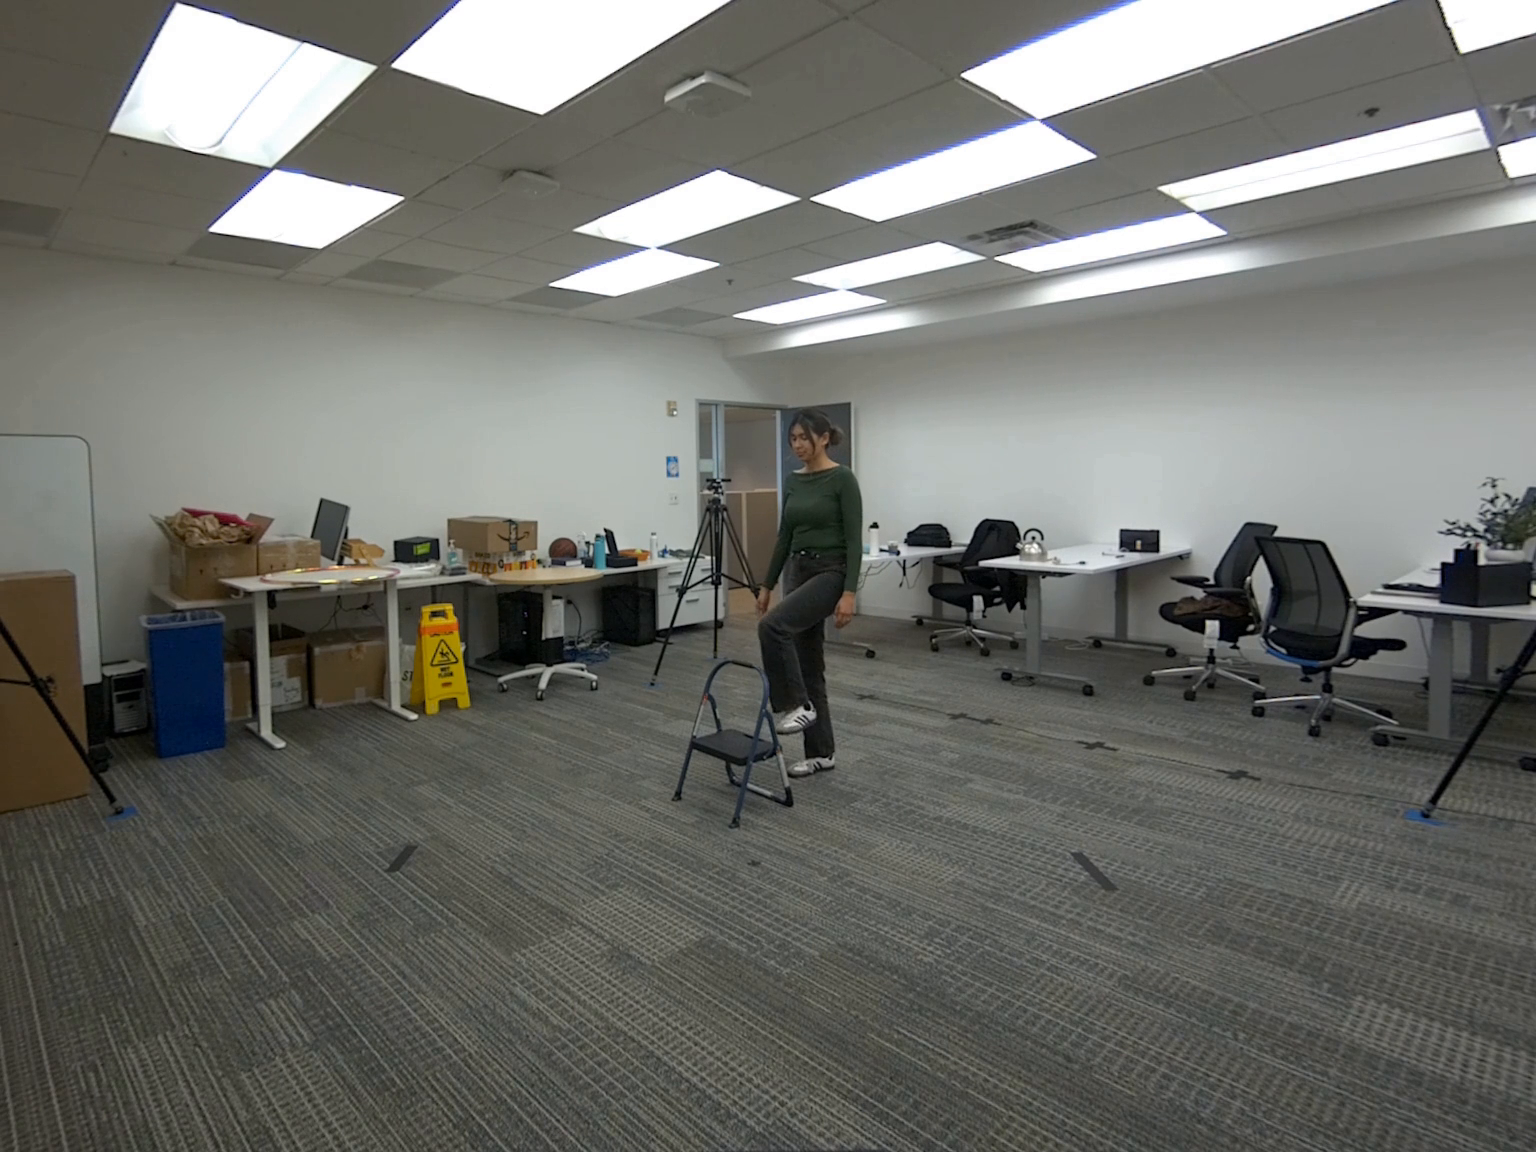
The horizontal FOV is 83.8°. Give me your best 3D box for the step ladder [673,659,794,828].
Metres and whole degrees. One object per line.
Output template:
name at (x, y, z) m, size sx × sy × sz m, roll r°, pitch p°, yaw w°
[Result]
step ladder at (-0.157, 0.678, 3.670) m, size 0.340 × 0.604 × 0.444 m, roll -4°, pitch 5°, yaw -41°
